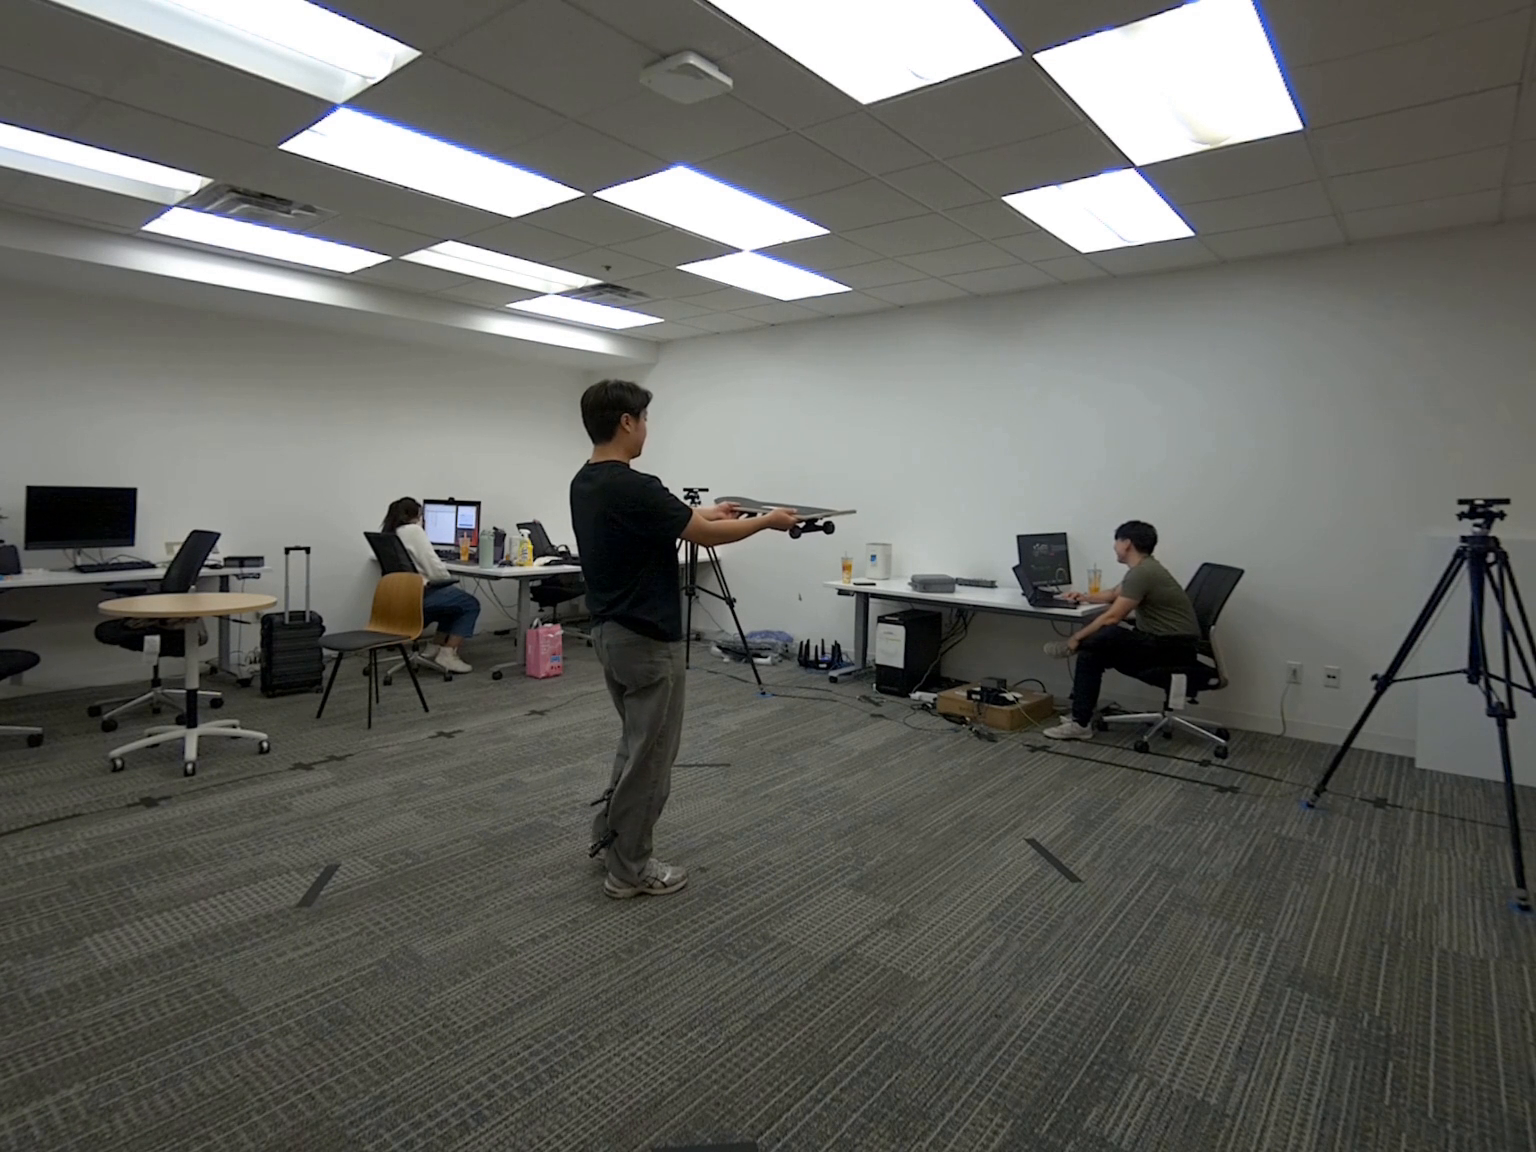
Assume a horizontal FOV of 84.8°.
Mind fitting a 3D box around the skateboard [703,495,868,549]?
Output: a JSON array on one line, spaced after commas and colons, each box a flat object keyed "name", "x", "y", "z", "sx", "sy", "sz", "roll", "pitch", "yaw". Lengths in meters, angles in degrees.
[{"name": "skateboard", "x": 0.038, "y": -0.220, "z": 3.192, "sx": 0.189, "sy": 0.109, "sz": 0.813, "roll": -9, "pitch": 13, "yaw": -33}]
